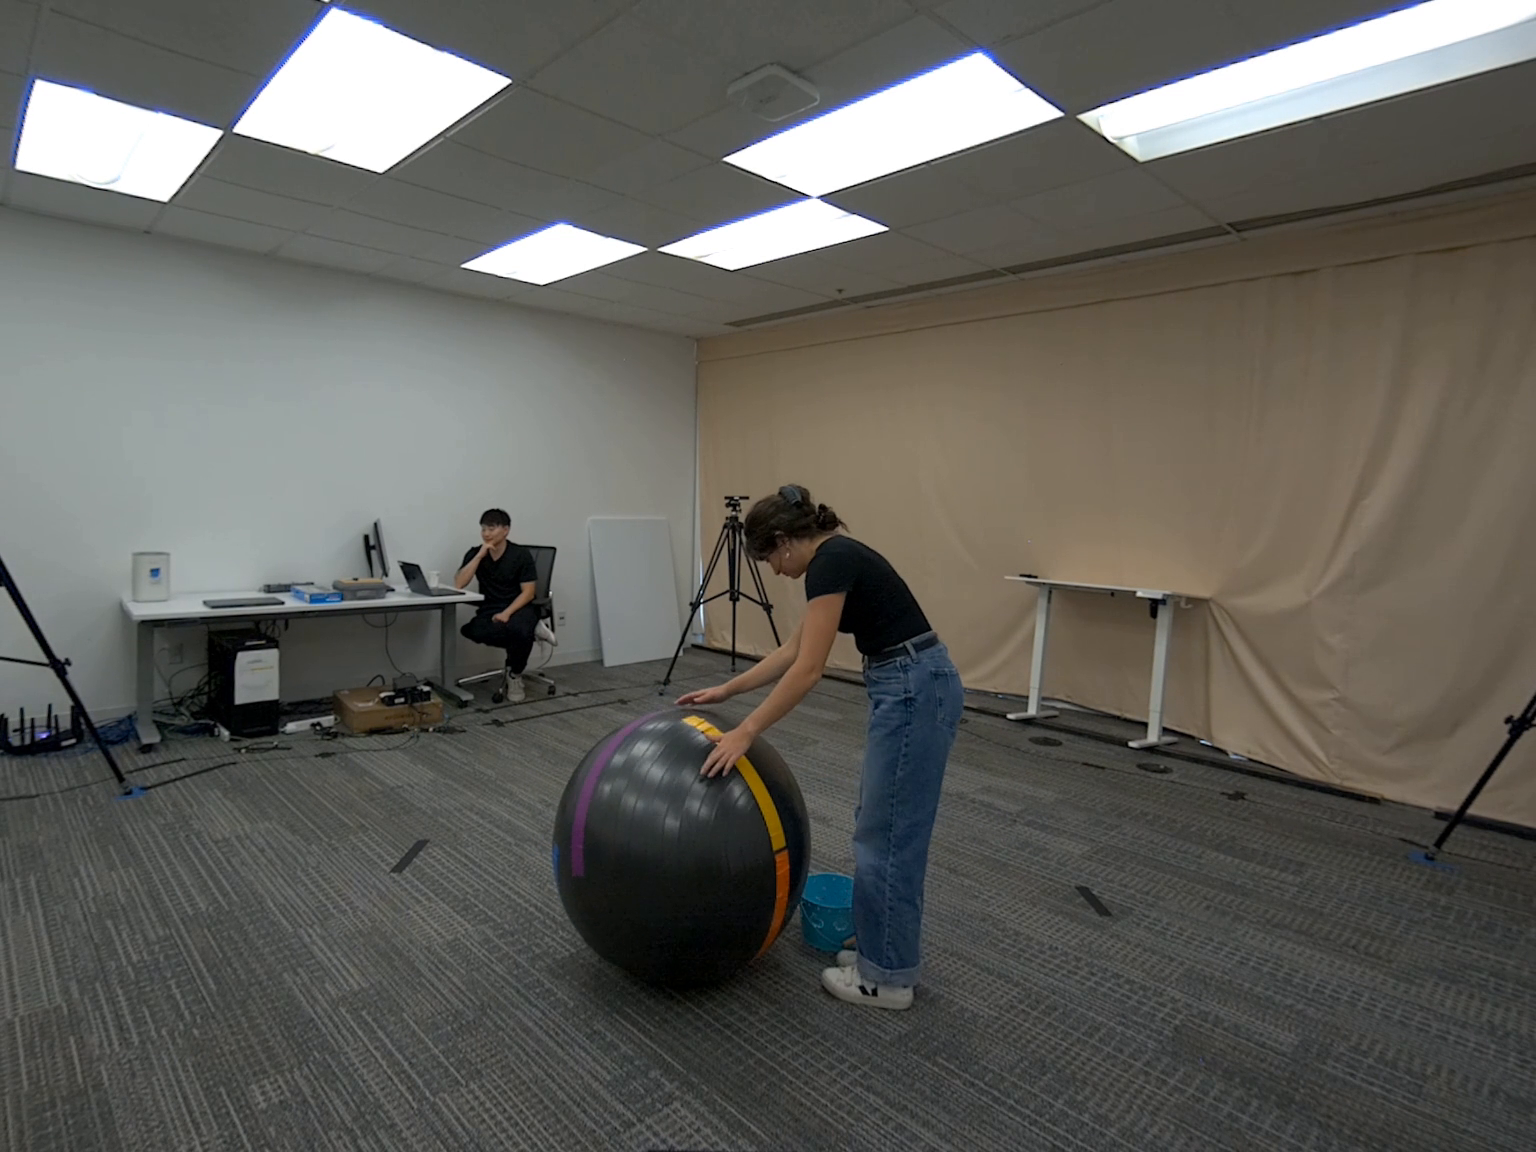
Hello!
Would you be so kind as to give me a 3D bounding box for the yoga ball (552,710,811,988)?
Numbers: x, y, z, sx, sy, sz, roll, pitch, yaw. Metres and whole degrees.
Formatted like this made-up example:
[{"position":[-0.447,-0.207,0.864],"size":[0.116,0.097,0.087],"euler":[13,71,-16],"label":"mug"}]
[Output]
[{"position":[-0.260,0.784,2.478],"size":[0.757,0.756,0.761],"euler":[1,4,-1],"label":"yoga ball"}]
